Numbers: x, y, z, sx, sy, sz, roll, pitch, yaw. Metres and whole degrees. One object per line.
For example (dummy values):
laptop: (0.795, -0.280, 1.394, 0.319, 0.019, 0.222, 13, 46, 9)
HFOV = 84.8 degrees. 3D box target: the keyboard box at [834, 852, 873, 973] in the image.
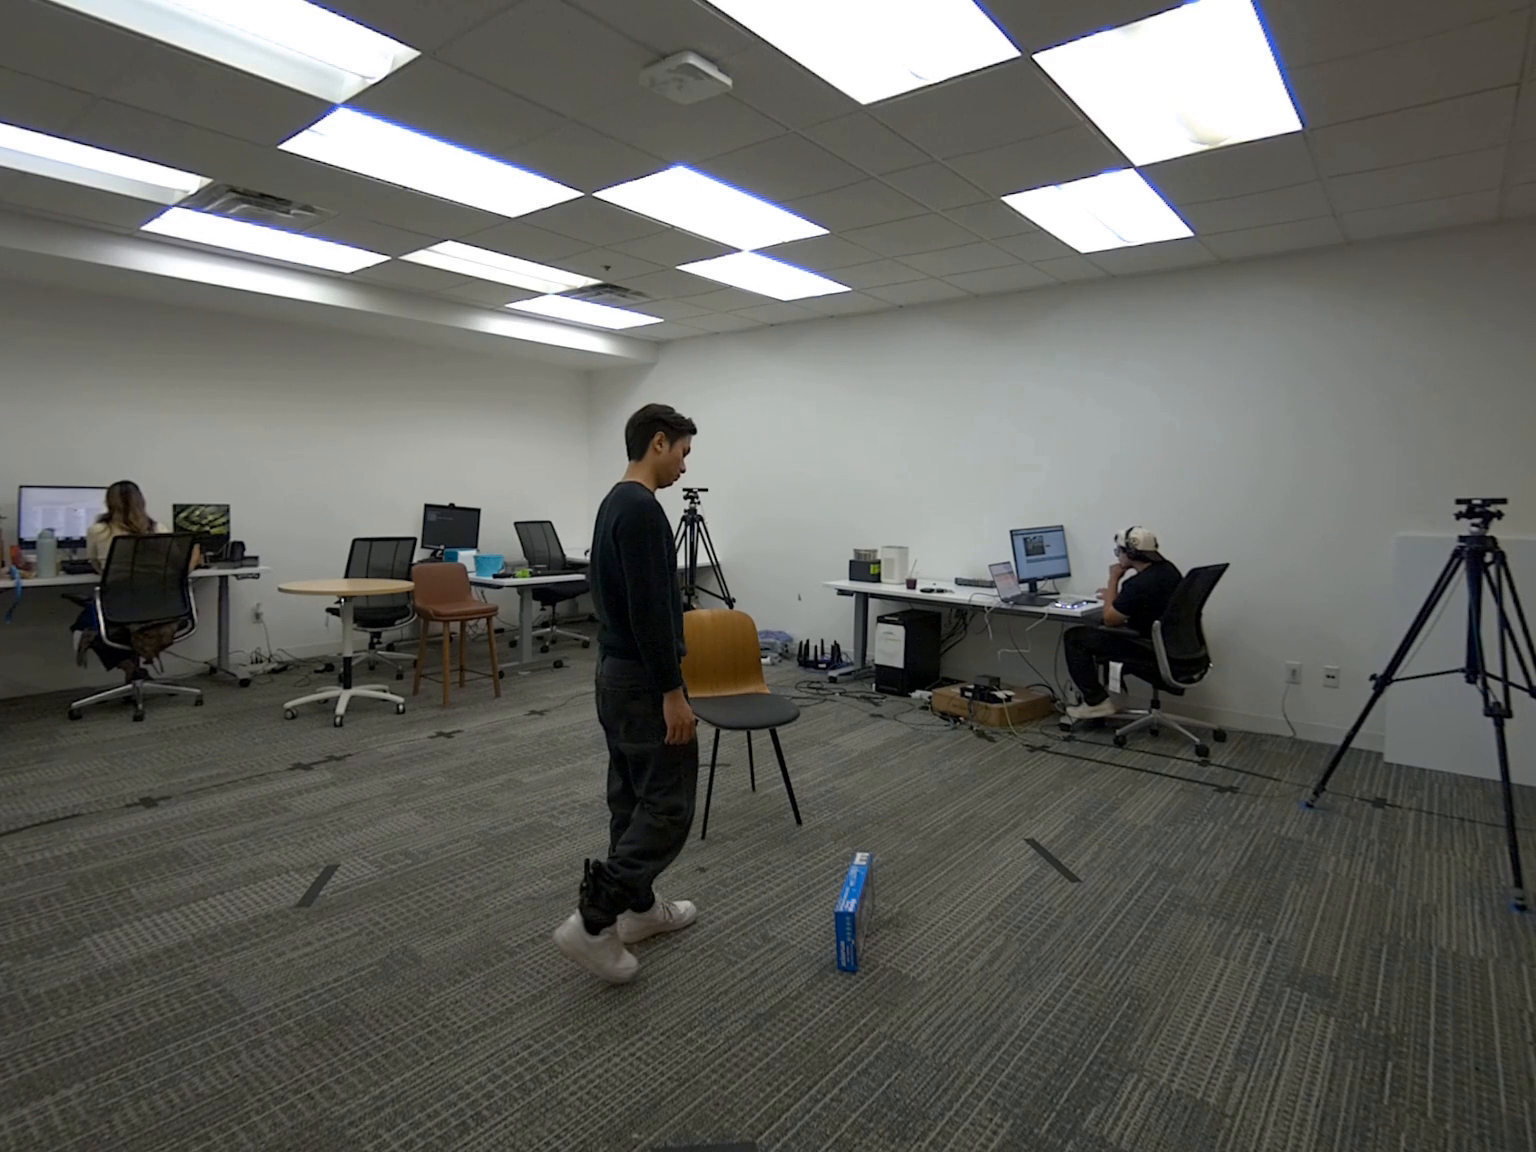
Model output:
keyboard box: (0.269, 1.033, 2.669, 0.060, 0.175, 0.431, -3, 4, 14)
